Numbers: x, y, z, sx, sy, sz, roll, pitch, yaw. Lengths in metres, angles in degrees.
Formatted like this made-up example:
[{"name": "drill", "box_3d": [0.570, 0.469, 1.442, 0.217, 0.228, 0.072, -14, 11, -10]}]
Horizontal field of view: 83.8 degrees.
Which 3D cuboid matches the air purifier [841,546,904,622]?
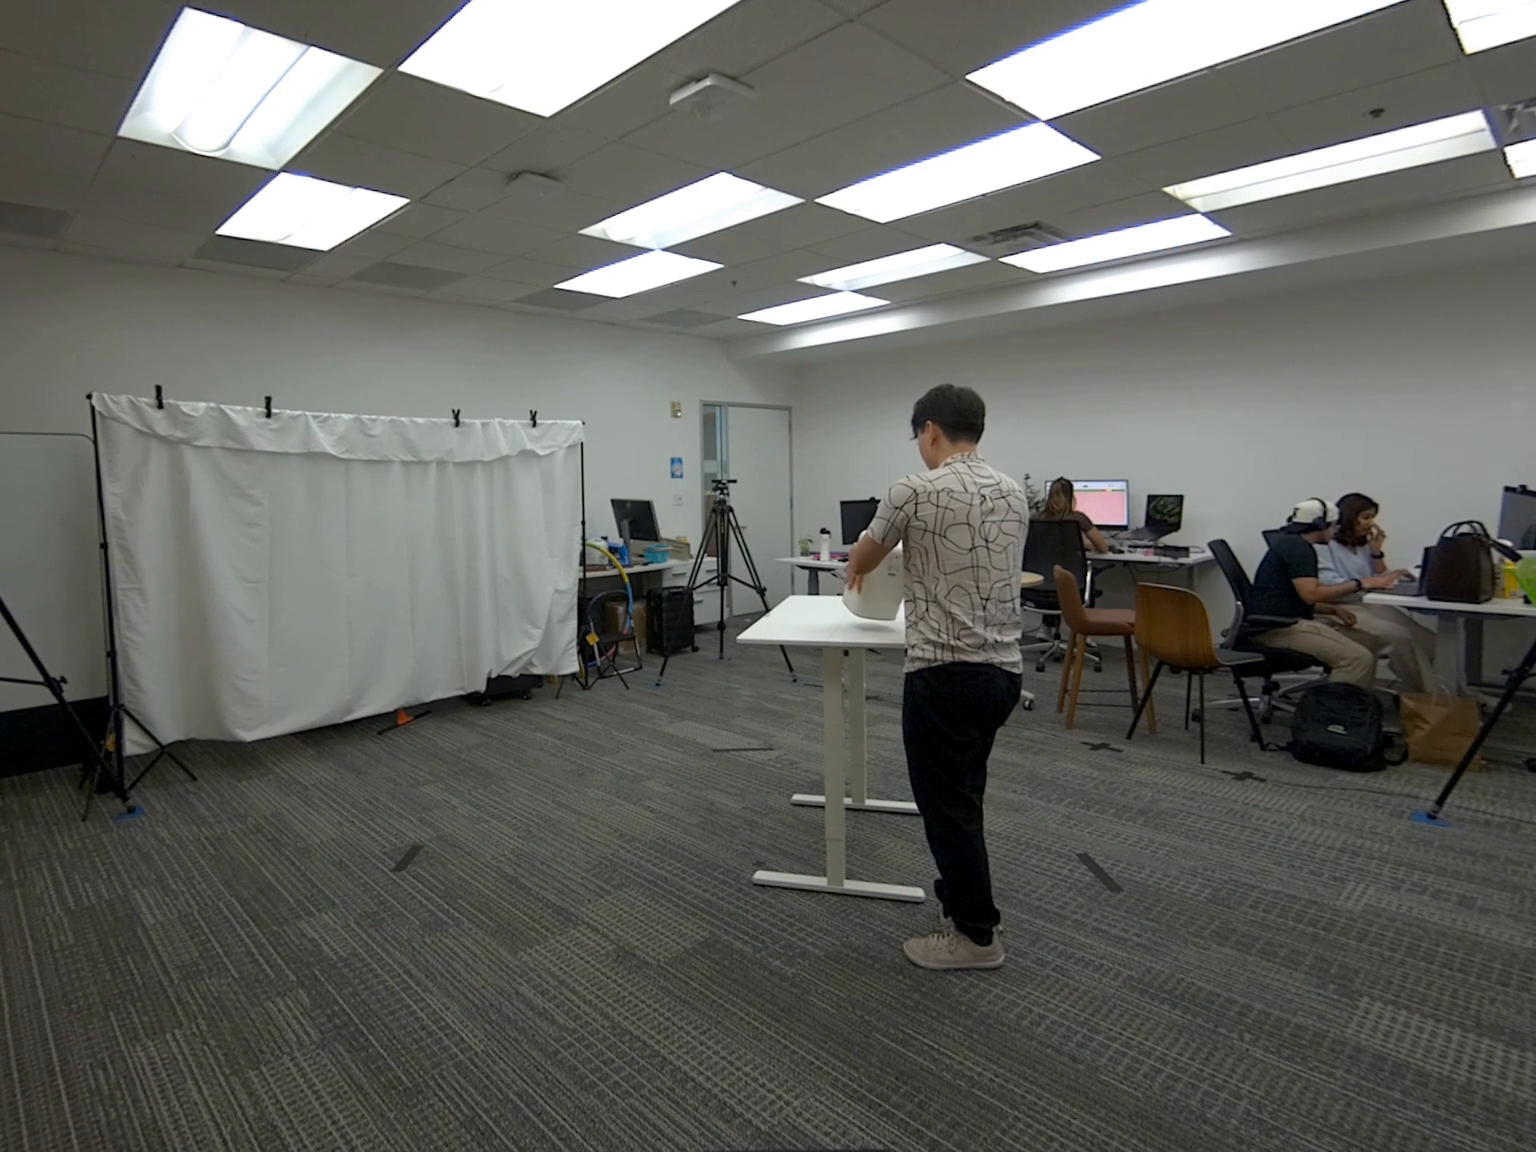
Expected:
[{"name": "air purifier", "box_3d": [0.385, -0.007, 2.900, 0.168, 0.262, 0.177, 6, 22, -18]}]
